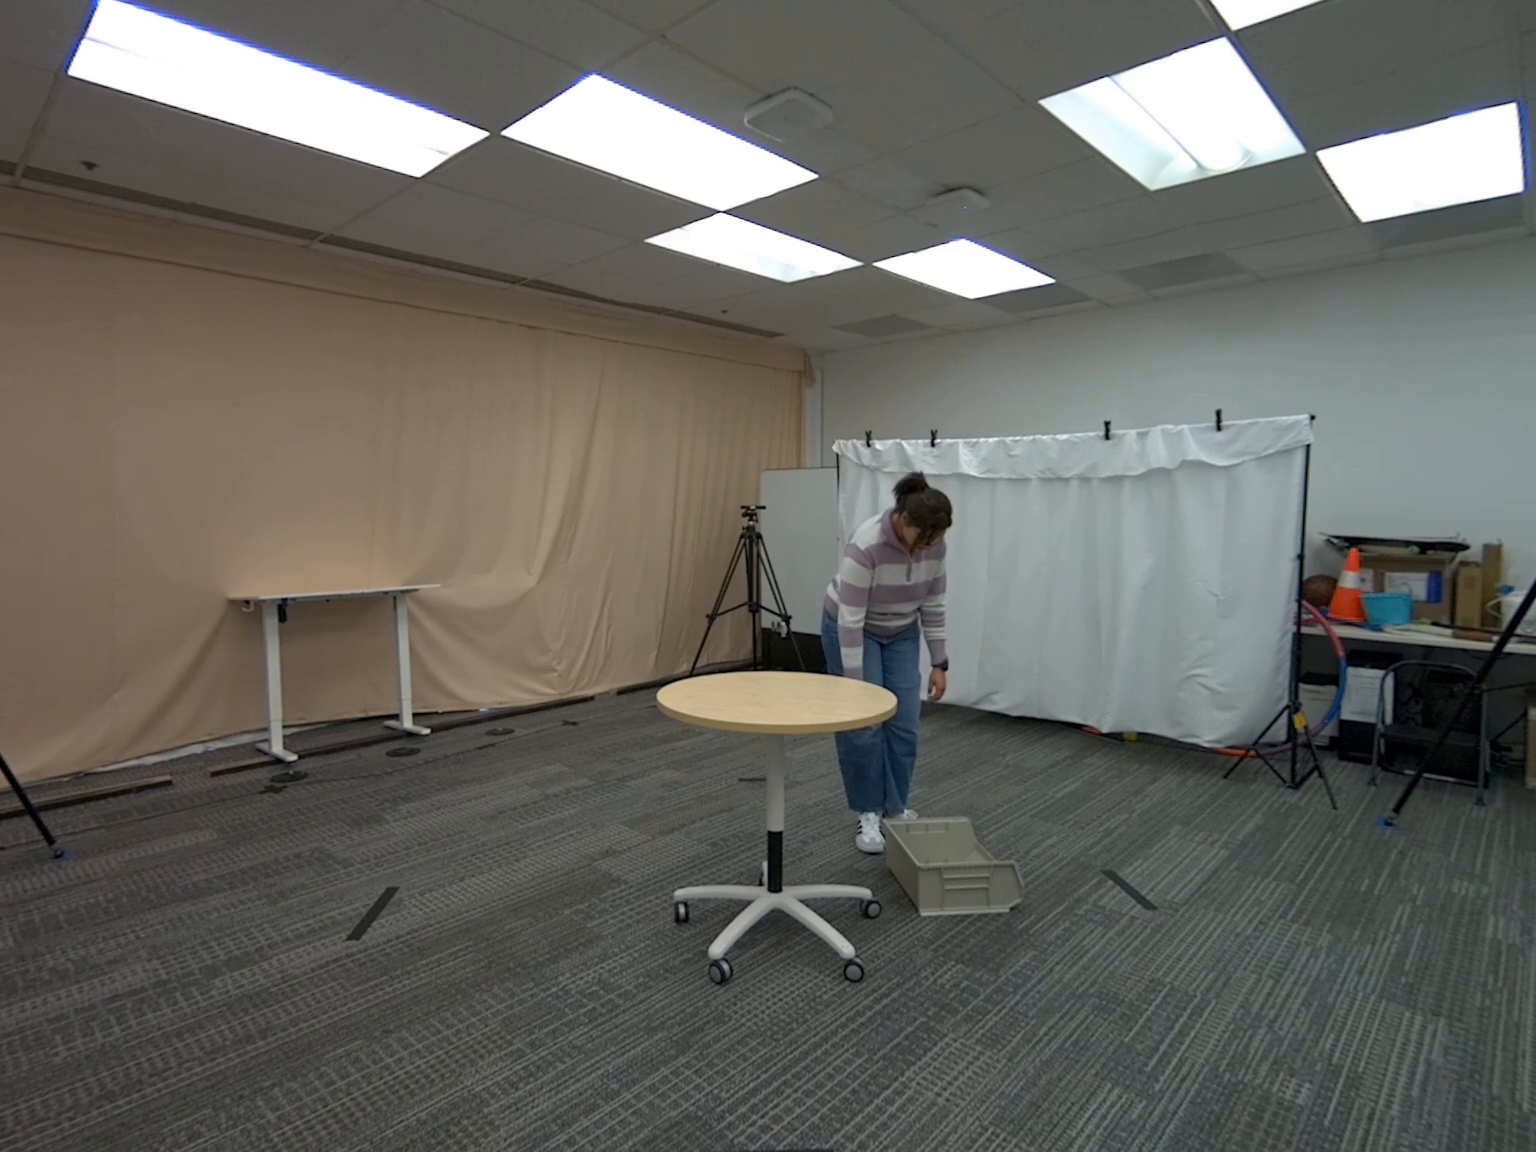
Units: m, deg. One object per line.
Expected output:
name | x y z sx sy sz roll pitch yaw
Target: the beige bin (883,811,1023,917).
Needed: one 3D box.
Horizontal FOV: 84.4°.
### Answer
beige bin | 0.663 1.044 3.066 0.375 0.188 0.426 -2 5 -7
